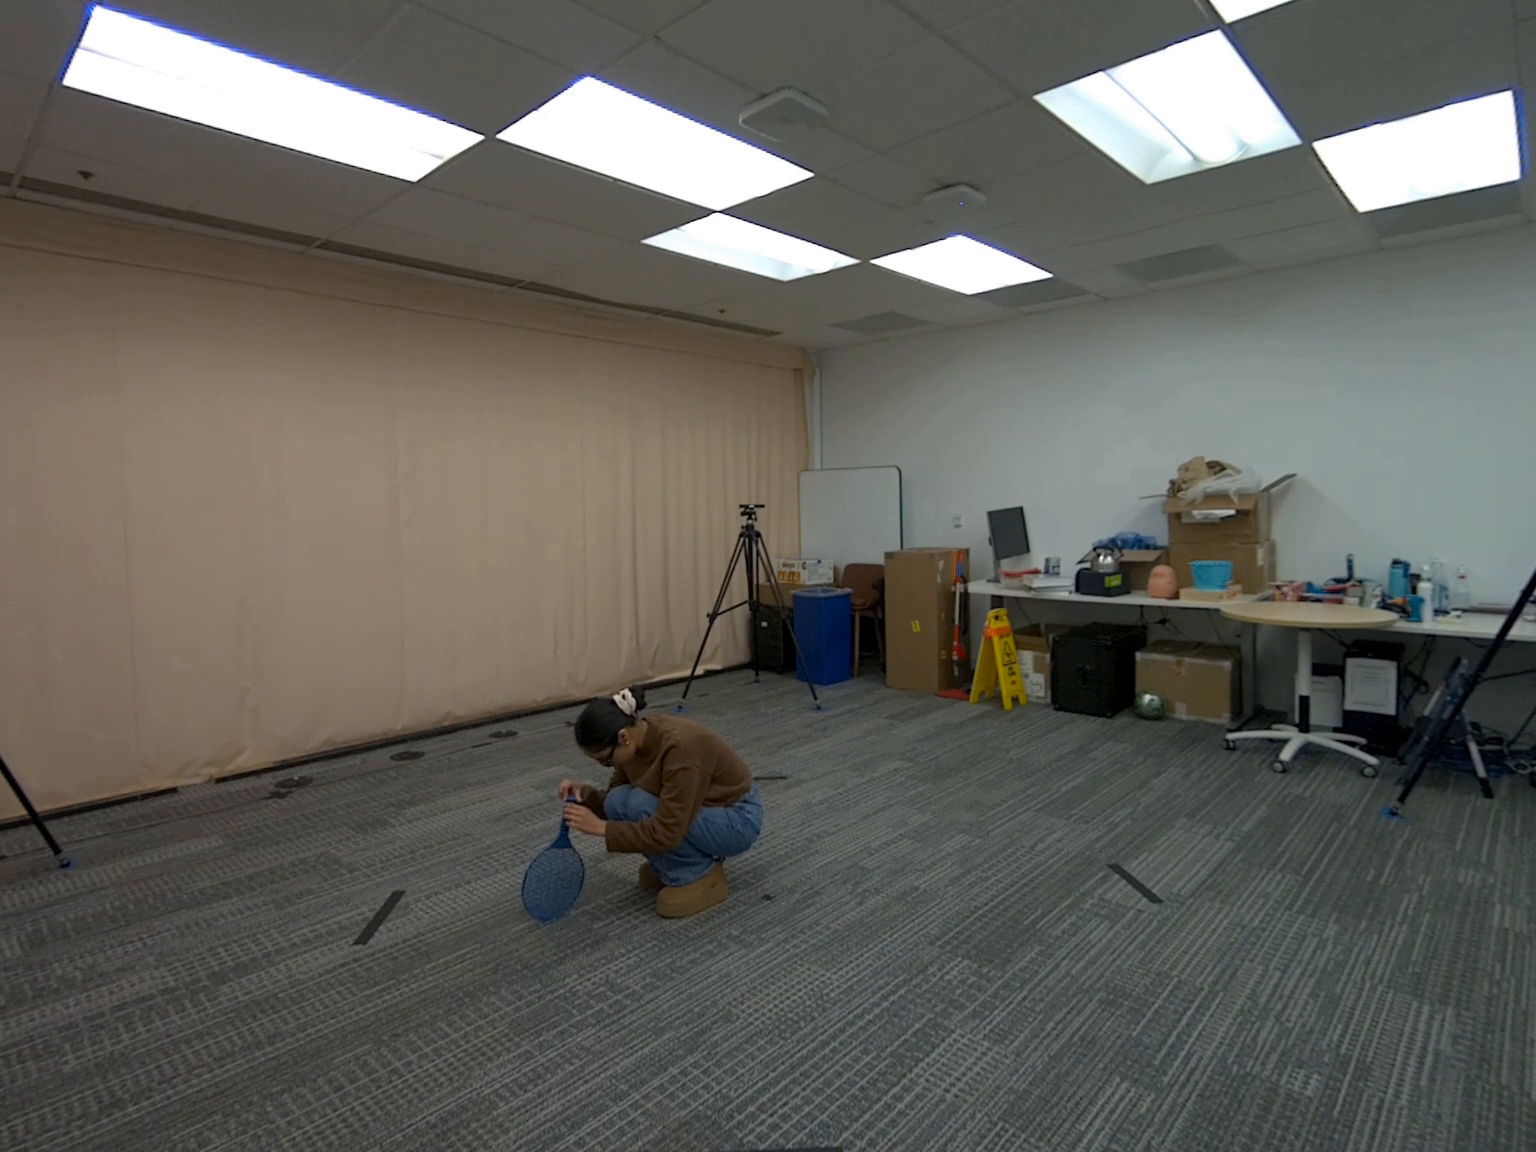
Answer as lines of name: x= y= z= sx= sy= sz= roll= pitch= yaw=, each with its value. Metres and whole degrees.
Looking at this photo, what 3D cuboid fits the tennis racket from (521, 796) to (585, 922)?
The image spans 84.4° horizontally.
tennis racket: x=-0.704 y=0.960 z=2.849 sx=0.207 sy=0.433 sz=0.033 roll=16 pitch=0 yaw=-28
